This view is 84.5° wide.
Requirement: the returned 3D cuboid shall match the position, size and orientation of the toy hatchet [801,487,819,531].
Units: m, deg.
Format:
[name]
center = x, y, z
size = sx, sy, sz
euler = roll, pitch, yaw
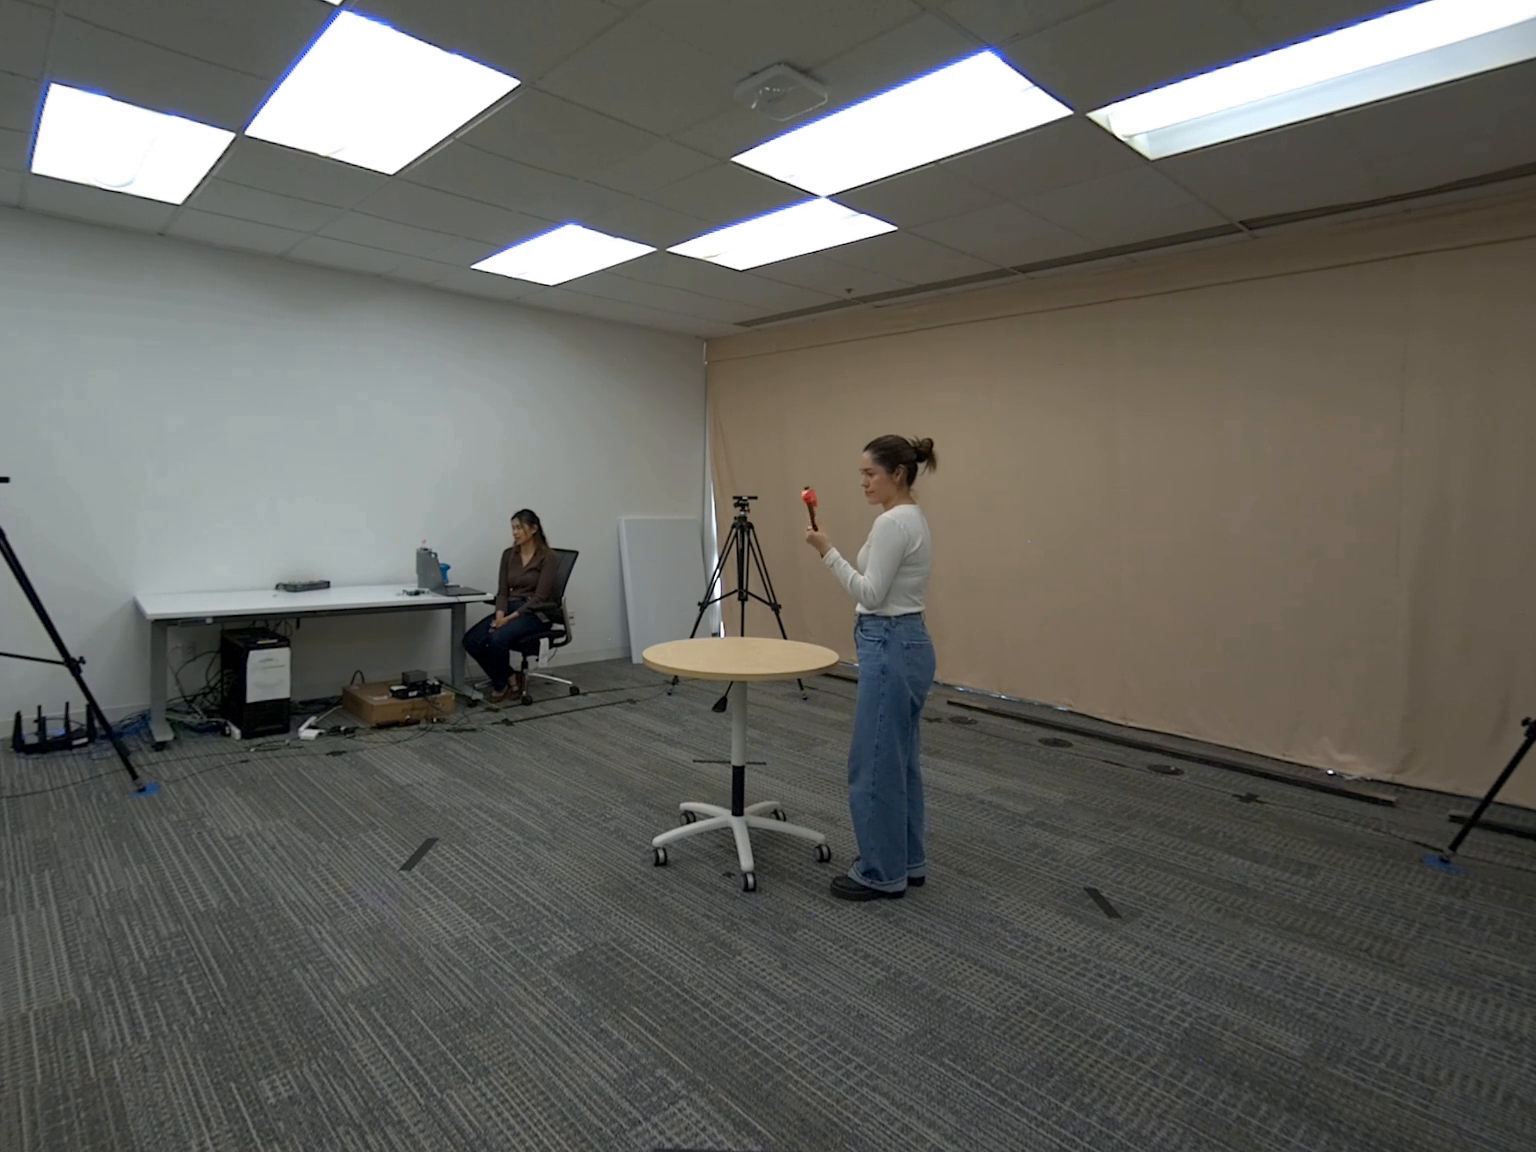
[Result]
[toy hatchet]
center = 0.168, -0.188, 2.920
size = 0.030, 0.264, 0.132
euler = -11, 26, 22
